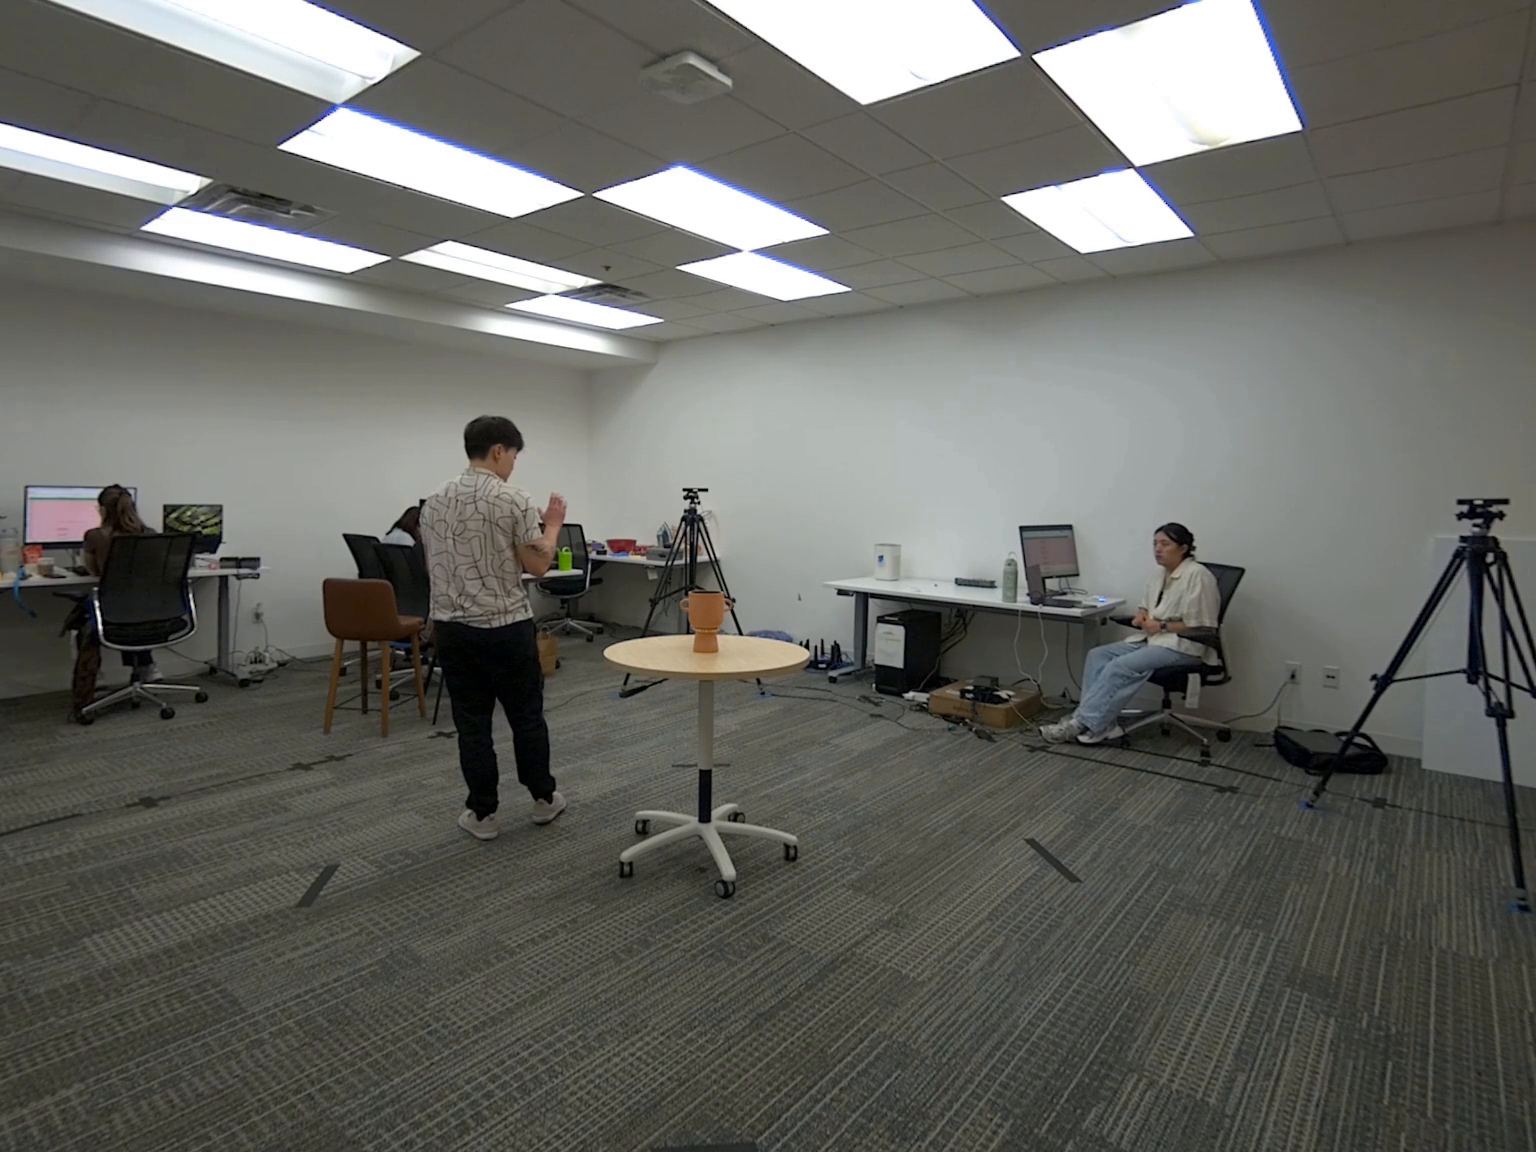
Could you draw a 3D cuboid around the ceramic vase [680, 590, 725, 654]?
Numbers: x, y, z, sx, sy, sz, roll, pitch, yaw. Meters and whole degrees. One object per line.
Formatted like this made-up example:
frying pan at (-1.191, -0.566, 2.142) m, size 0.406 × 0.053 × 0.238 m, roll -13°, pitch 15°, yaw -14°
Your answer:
ceramic vase at (-0.241, 0.169, 3.186) m, size 0.163 × 0.219 × 0.131 m, roll 2°, pitch 4°, yaw 31°
